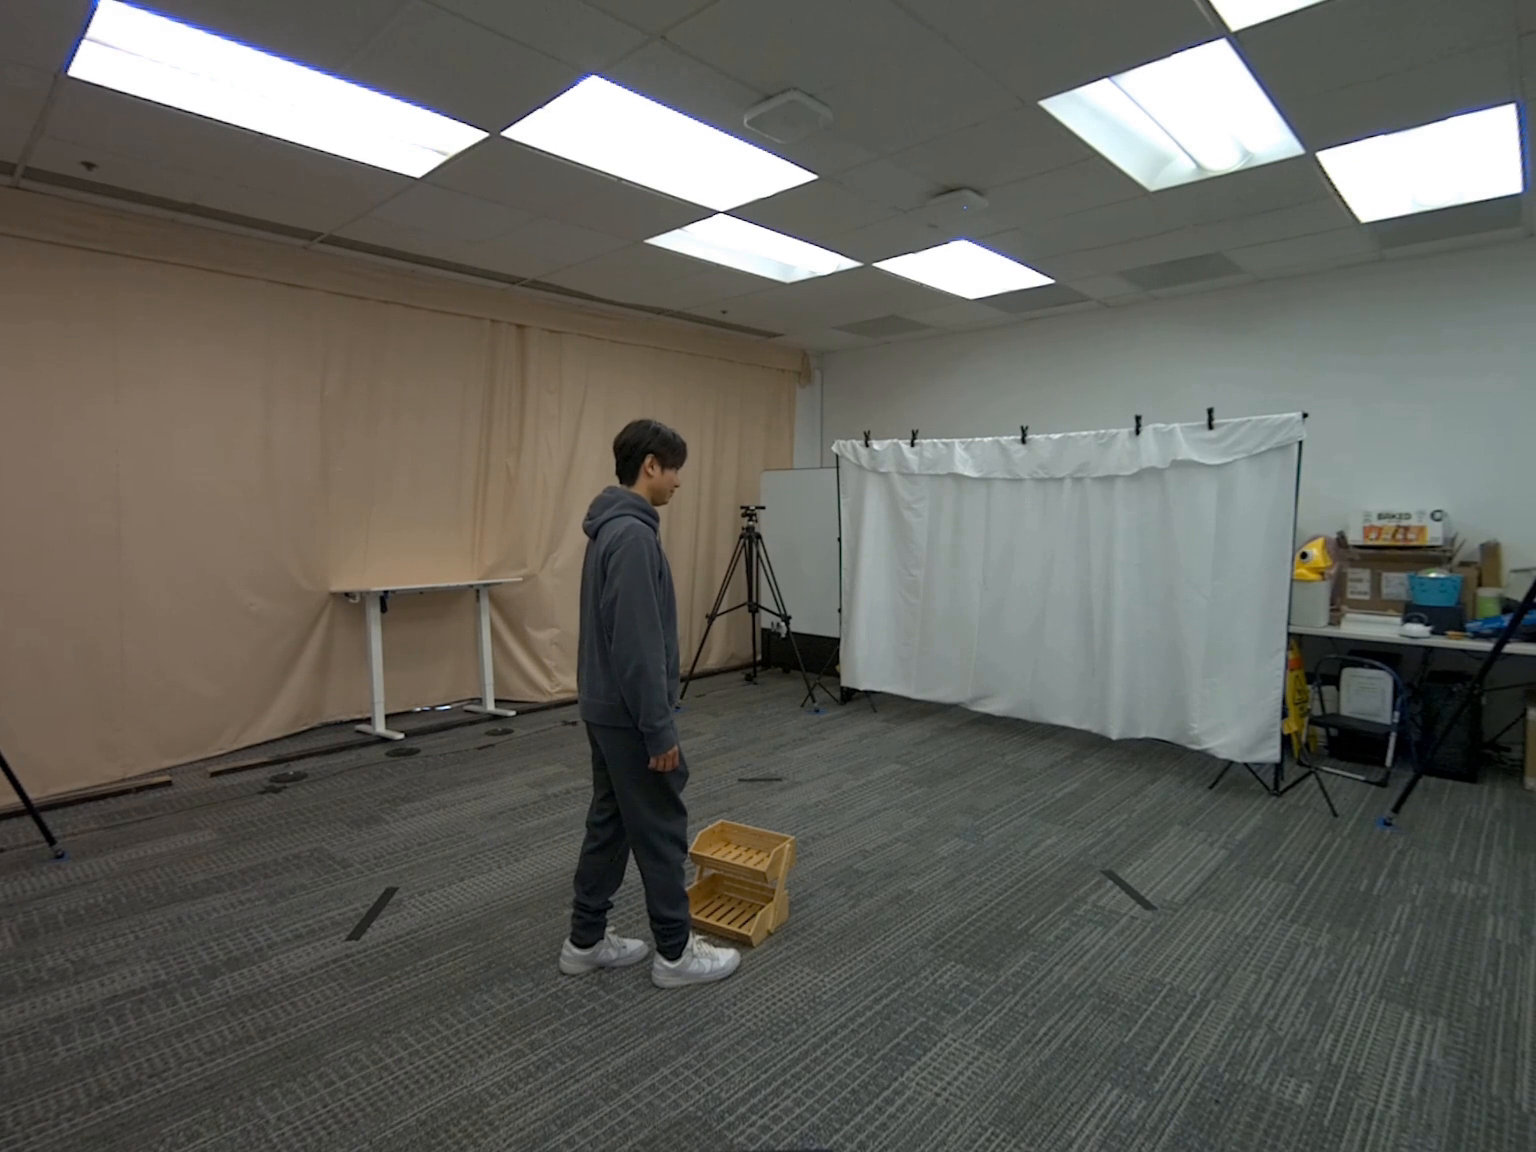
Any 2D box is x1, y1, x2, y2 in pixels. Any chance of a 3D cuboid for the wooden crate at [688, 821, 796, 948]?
[{"bbox_3d":[-0.107,1.023,2.839,0.334,0.273,0.294,2,4,31],"label":"wooden crate"}]
